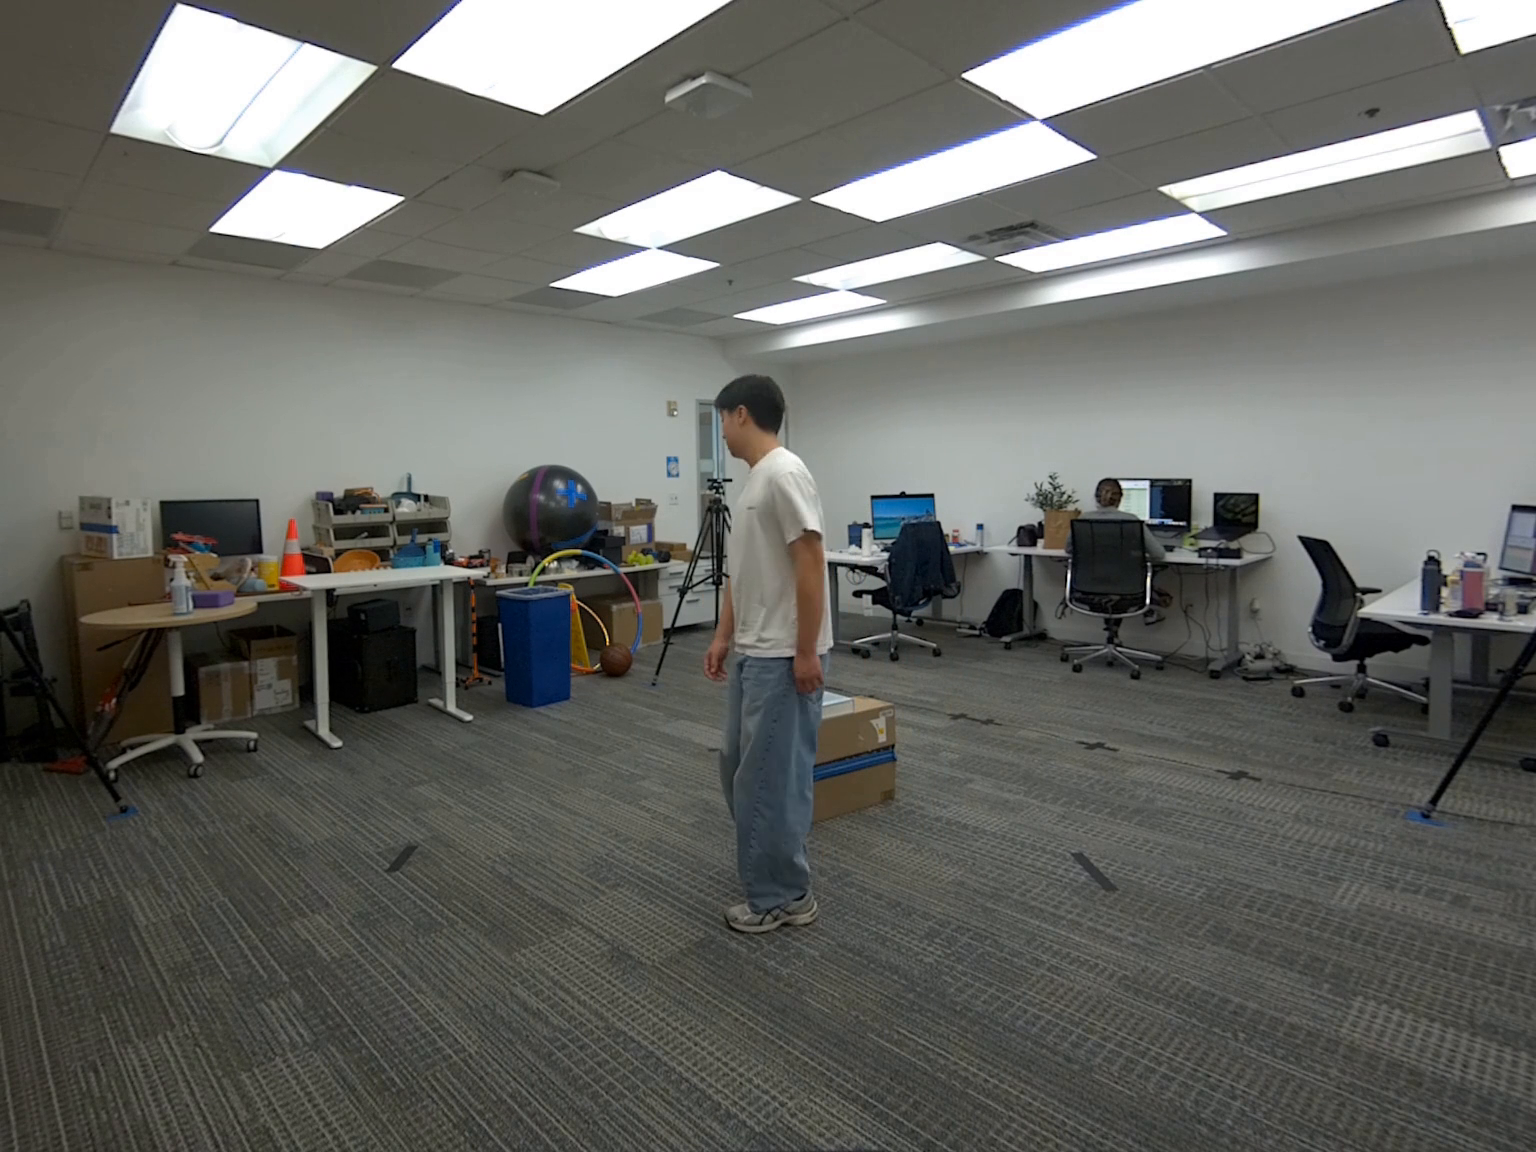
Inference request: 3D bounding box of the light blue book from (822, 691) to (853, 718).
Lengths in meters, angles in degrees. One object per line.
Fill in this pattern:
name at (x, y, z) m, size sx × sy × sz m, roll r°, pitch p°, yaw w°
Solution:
light blue book at (0.218, 0.538, 3.627) m, size 0.187 × 0.059 × 0.268 m, roll -6°, pitch 7°, yaw -34°
